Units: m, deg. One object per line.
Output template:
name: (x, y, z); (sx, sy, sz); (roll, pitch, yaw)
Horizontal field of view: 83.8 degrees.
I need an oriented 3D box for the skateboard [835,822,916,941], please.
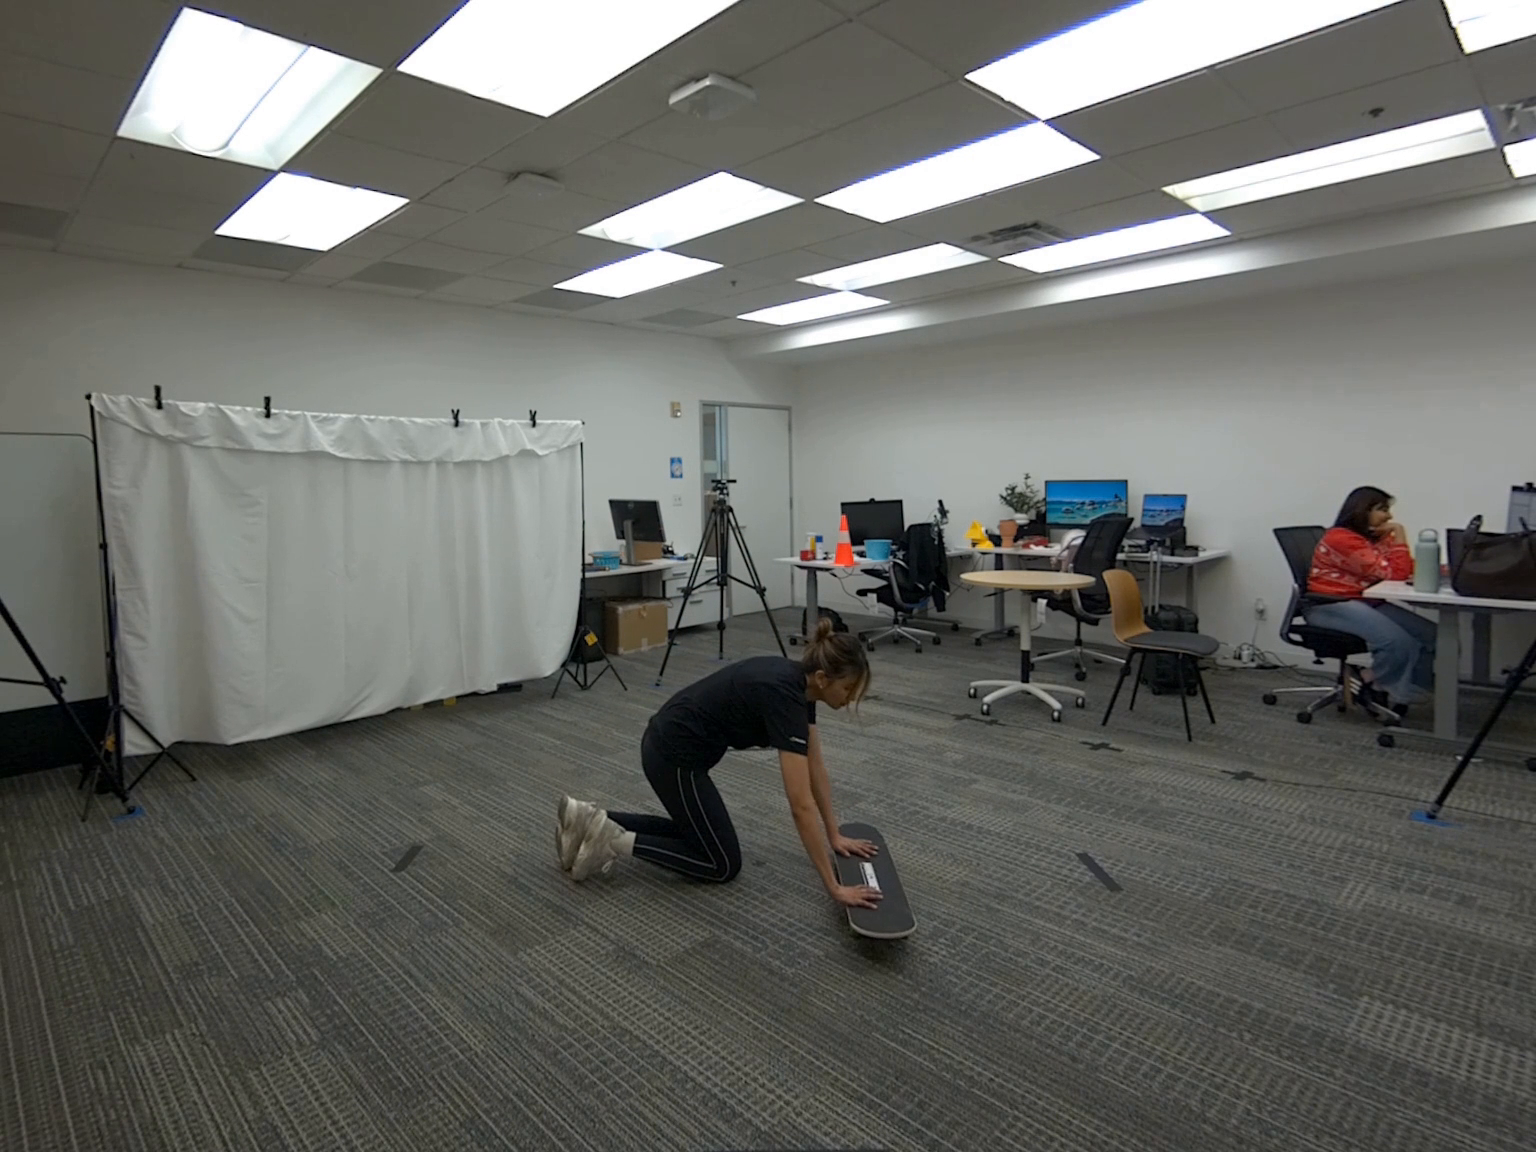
skateboard: (0.327, 1.009, 2.810); (0.193, 0.110, 0.789); (-2, 6, -1)
